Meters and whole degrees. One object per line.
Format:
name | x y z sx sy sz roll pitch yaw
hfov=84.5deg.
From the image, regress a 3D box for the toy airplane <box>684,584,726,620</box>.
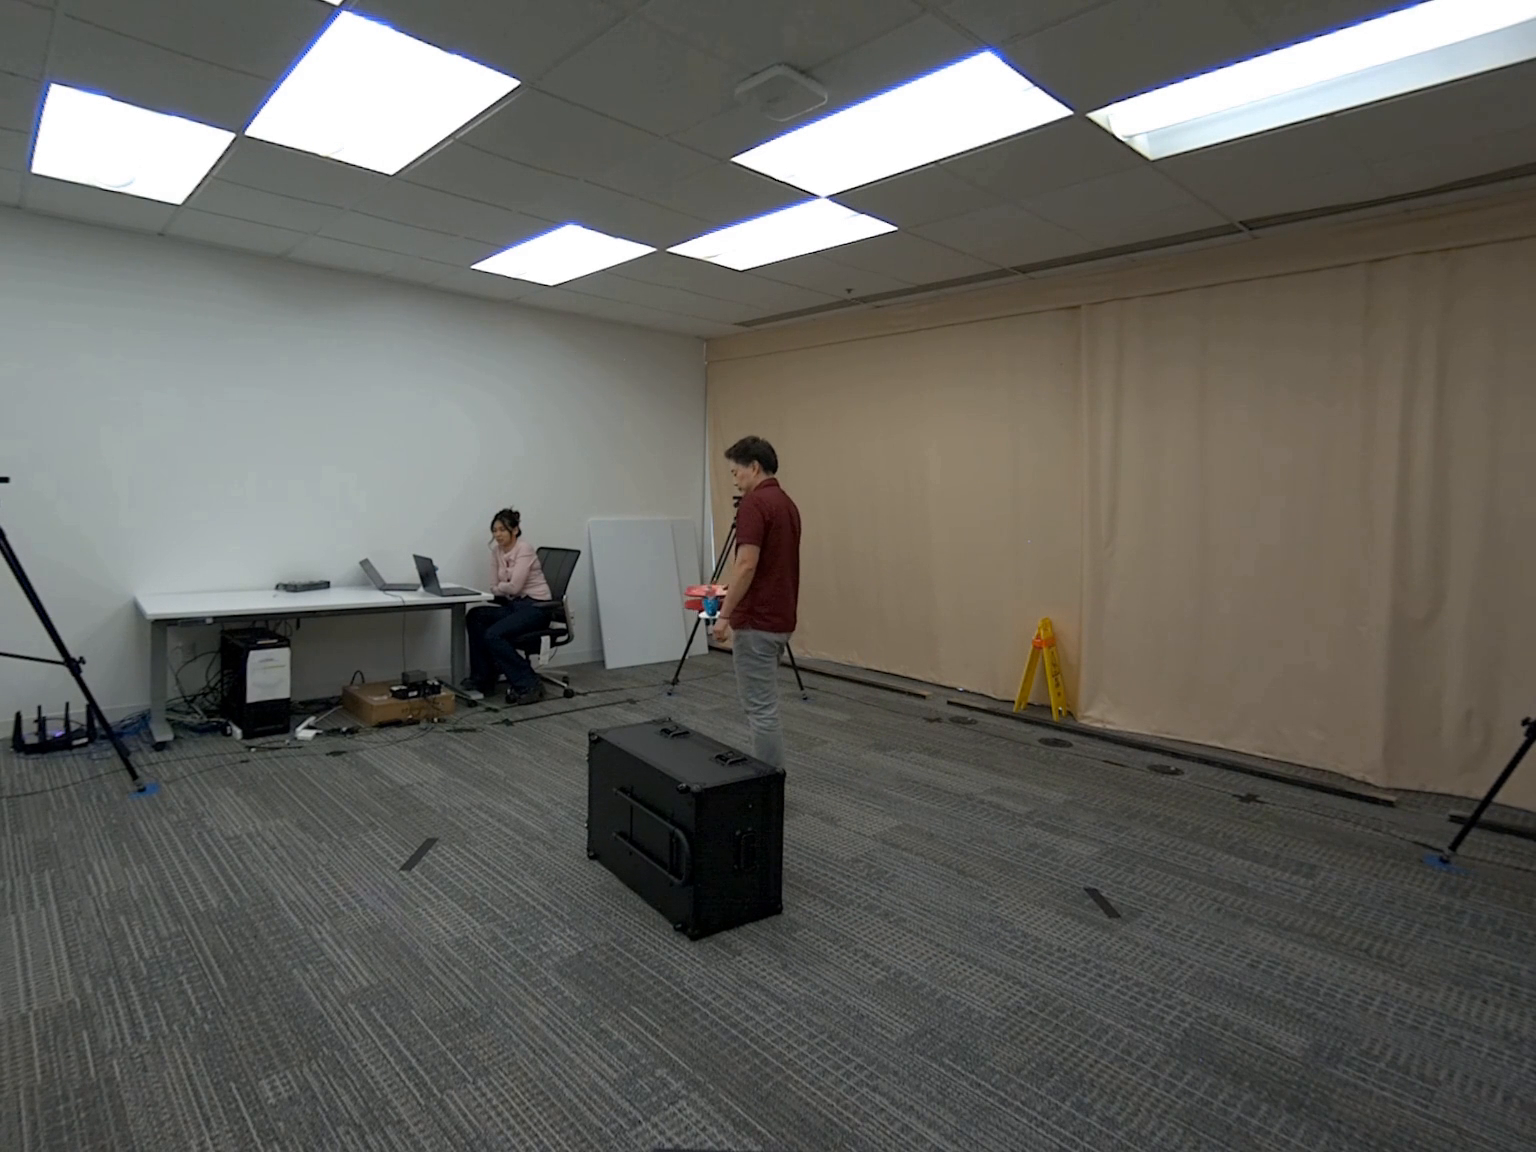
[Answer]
toy airplane | -0.276 0.139 4.137 0.247 0.155 0.266 -8 17 -30
